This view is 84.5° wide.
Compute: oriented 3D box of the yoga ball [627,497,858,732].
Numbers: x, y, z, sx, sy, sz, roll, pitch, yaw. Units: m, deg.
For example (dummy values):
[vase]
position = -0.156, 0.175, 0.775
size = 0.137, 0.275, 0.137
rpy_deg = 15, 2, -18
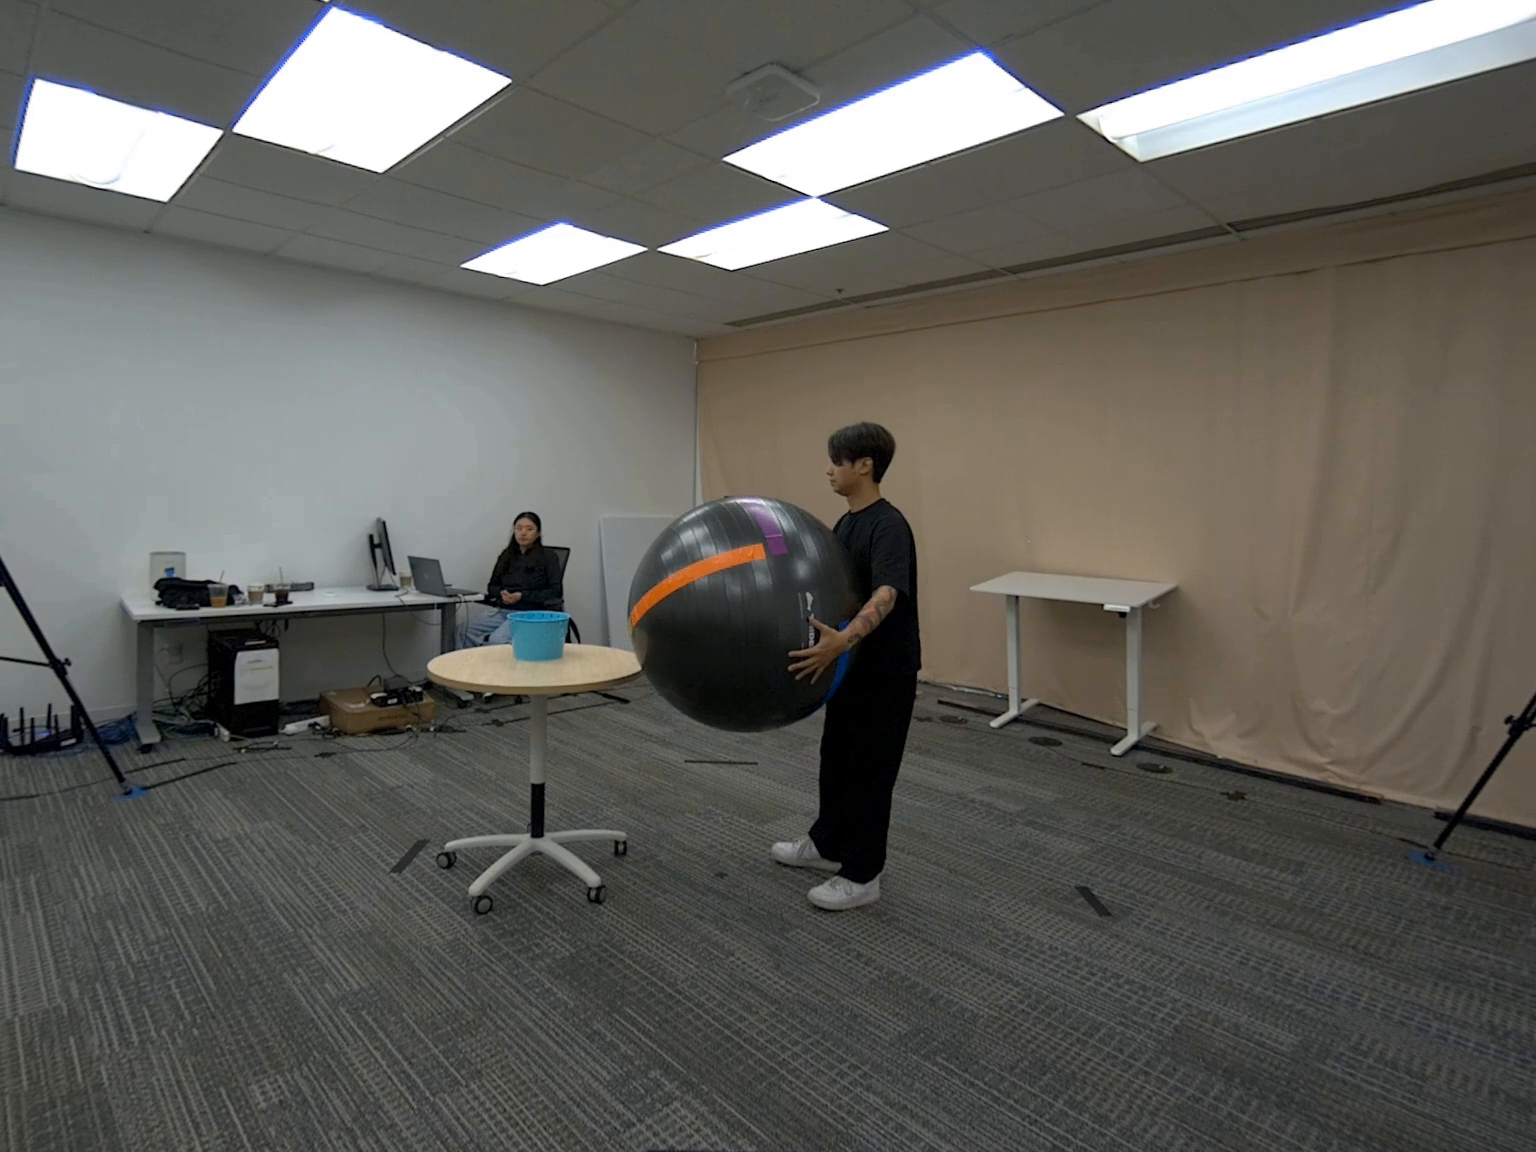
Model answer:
[yoga ball]
position = -0.078, 0.129, 2.720
size = 0.757, 0.756, 0.761
rpy_deg = 1, 4, -1
